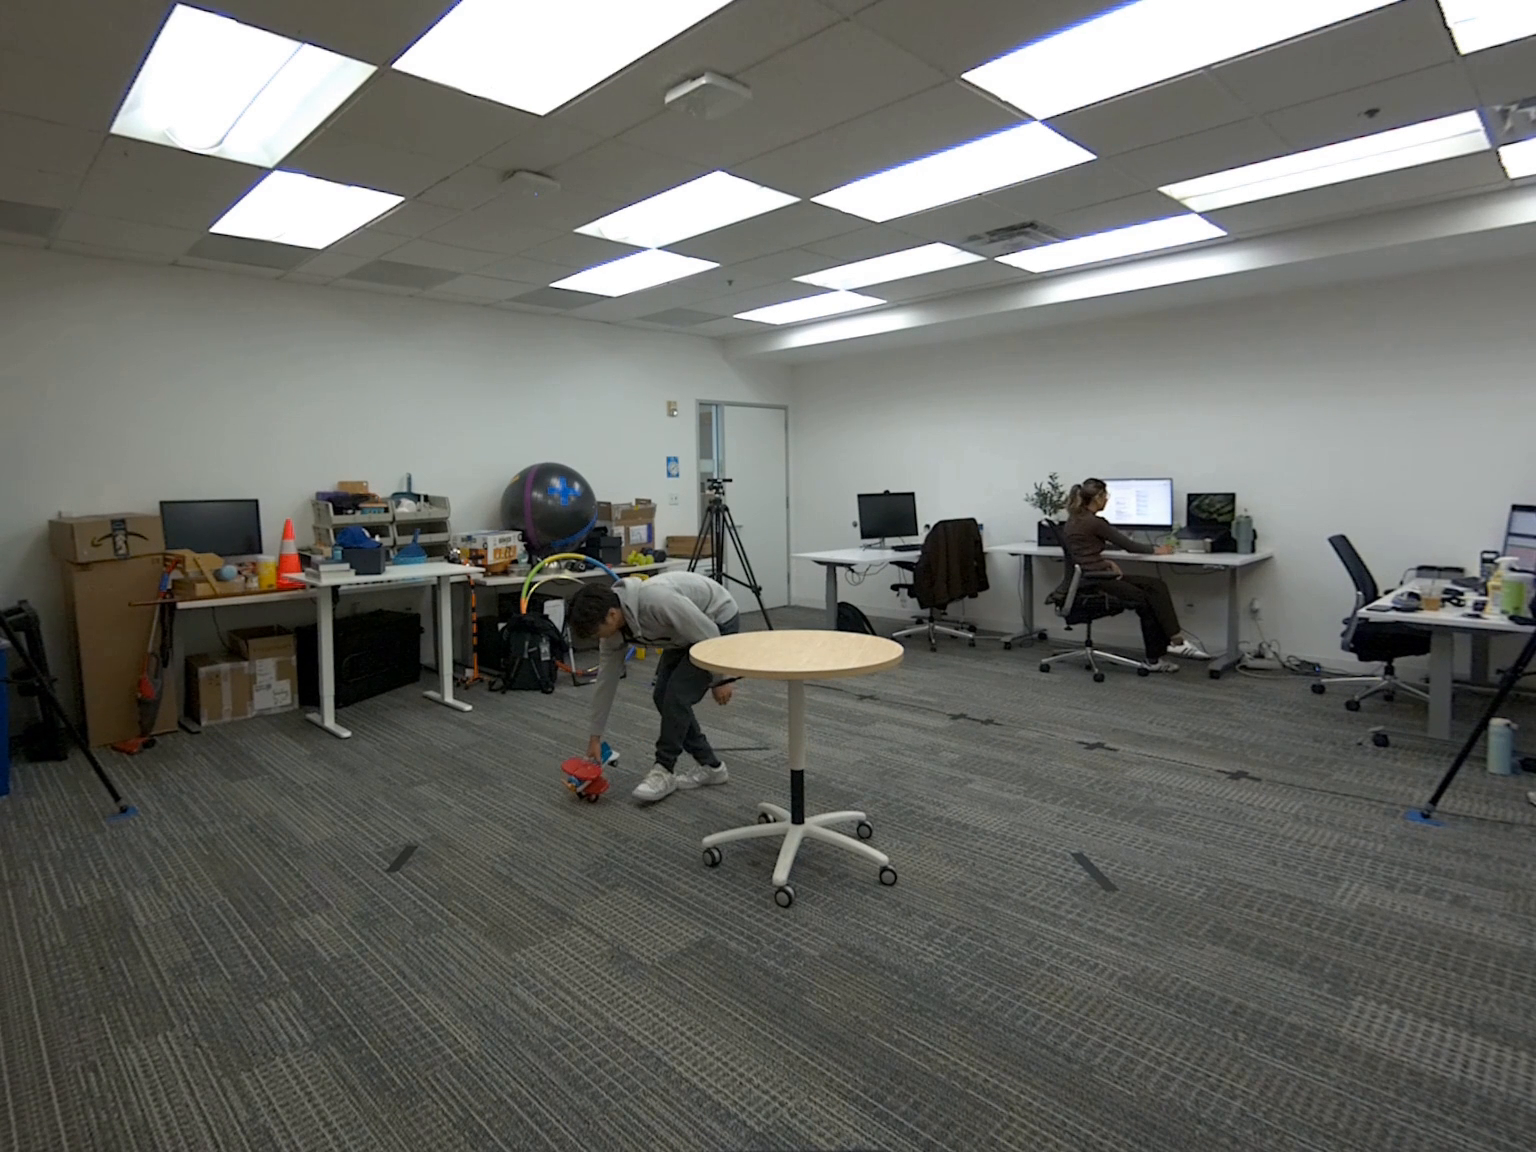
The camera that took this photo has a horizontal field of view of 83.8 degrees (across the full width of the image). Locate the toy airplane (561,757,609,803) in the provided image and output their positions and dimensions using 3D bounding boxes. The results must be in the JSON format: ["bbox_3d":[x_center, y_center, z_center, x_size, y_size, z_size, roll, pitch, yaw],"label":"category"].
[{"bbox_3d":[-0.795,0.871,3.796,0.254,0.151,0.264,-18,34,23],"label":"toy airplane"}]
